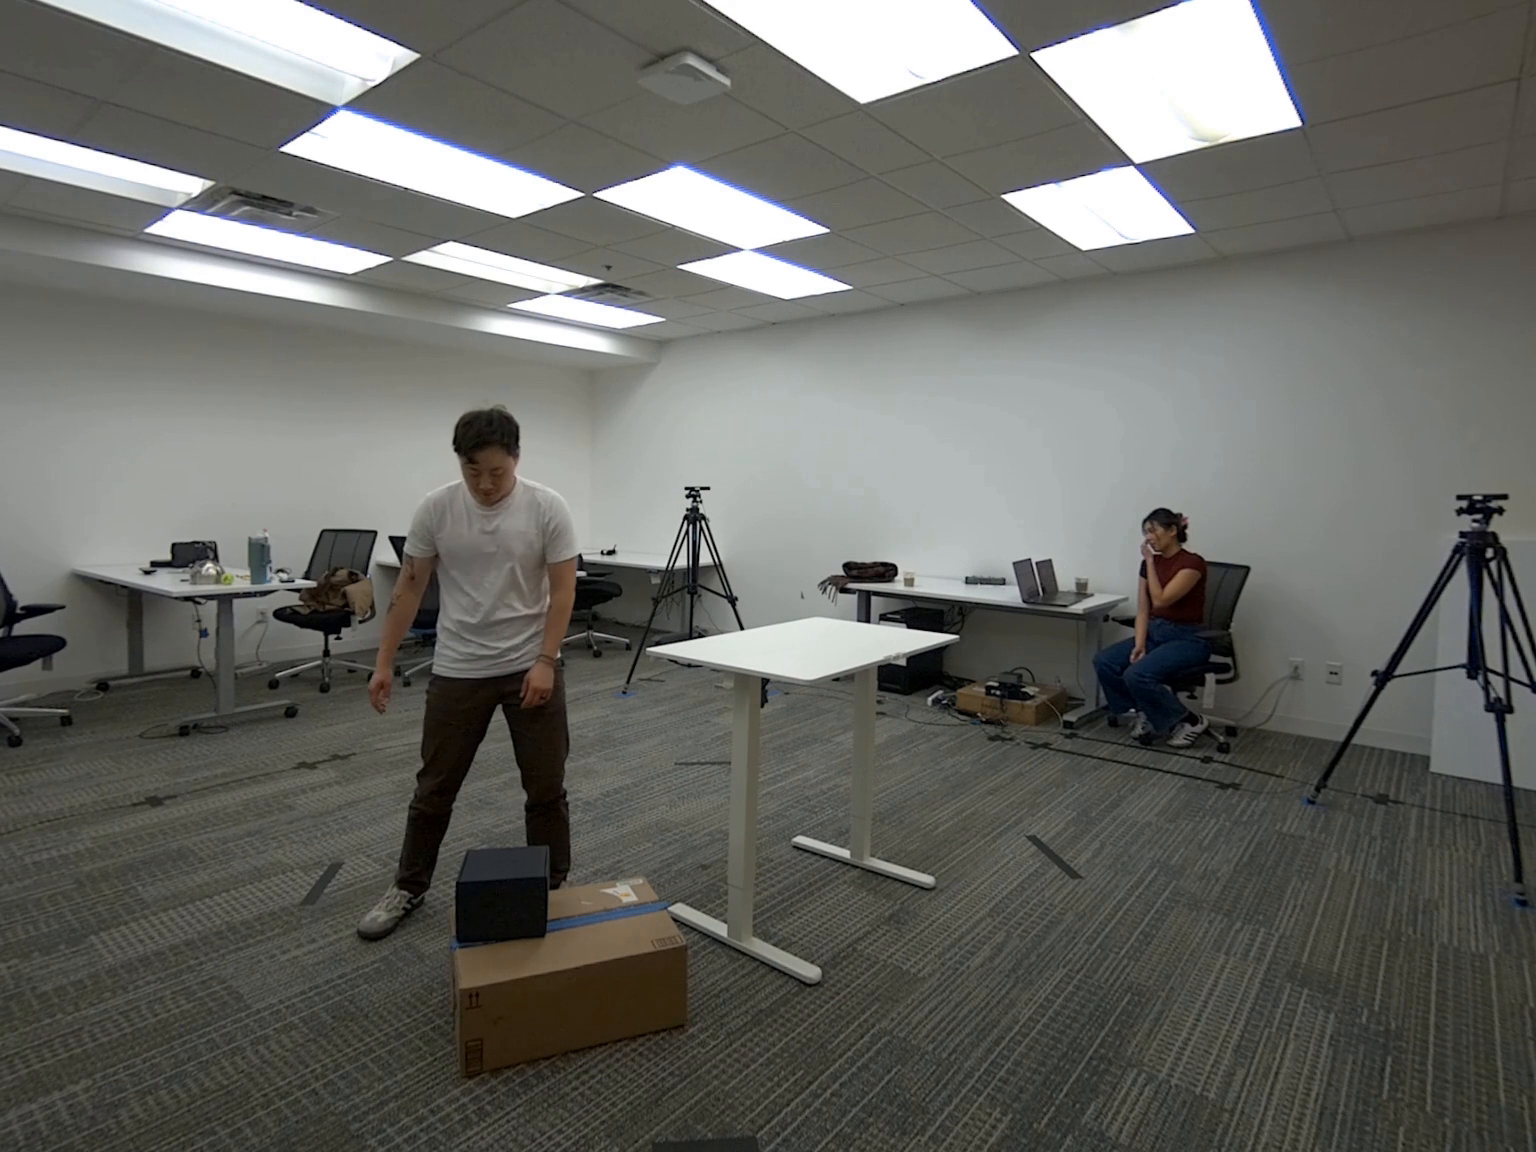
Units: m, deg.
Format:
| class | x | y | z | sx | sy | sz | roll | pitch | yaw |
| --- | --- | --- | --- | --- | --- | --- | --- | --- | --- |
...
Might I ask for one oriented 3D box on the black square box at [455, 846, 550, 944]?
| class | x | y | z | sx | sy | sz | roll | pitch | yaw |
| --- | --- | --- | --- | --- | --- | --- | --- | --- | --- |
| black square box | -0.714 | 0.842 | 2.287 | 0.226 | 0.155 | 0.220 | 0 | 4 | -10 |
